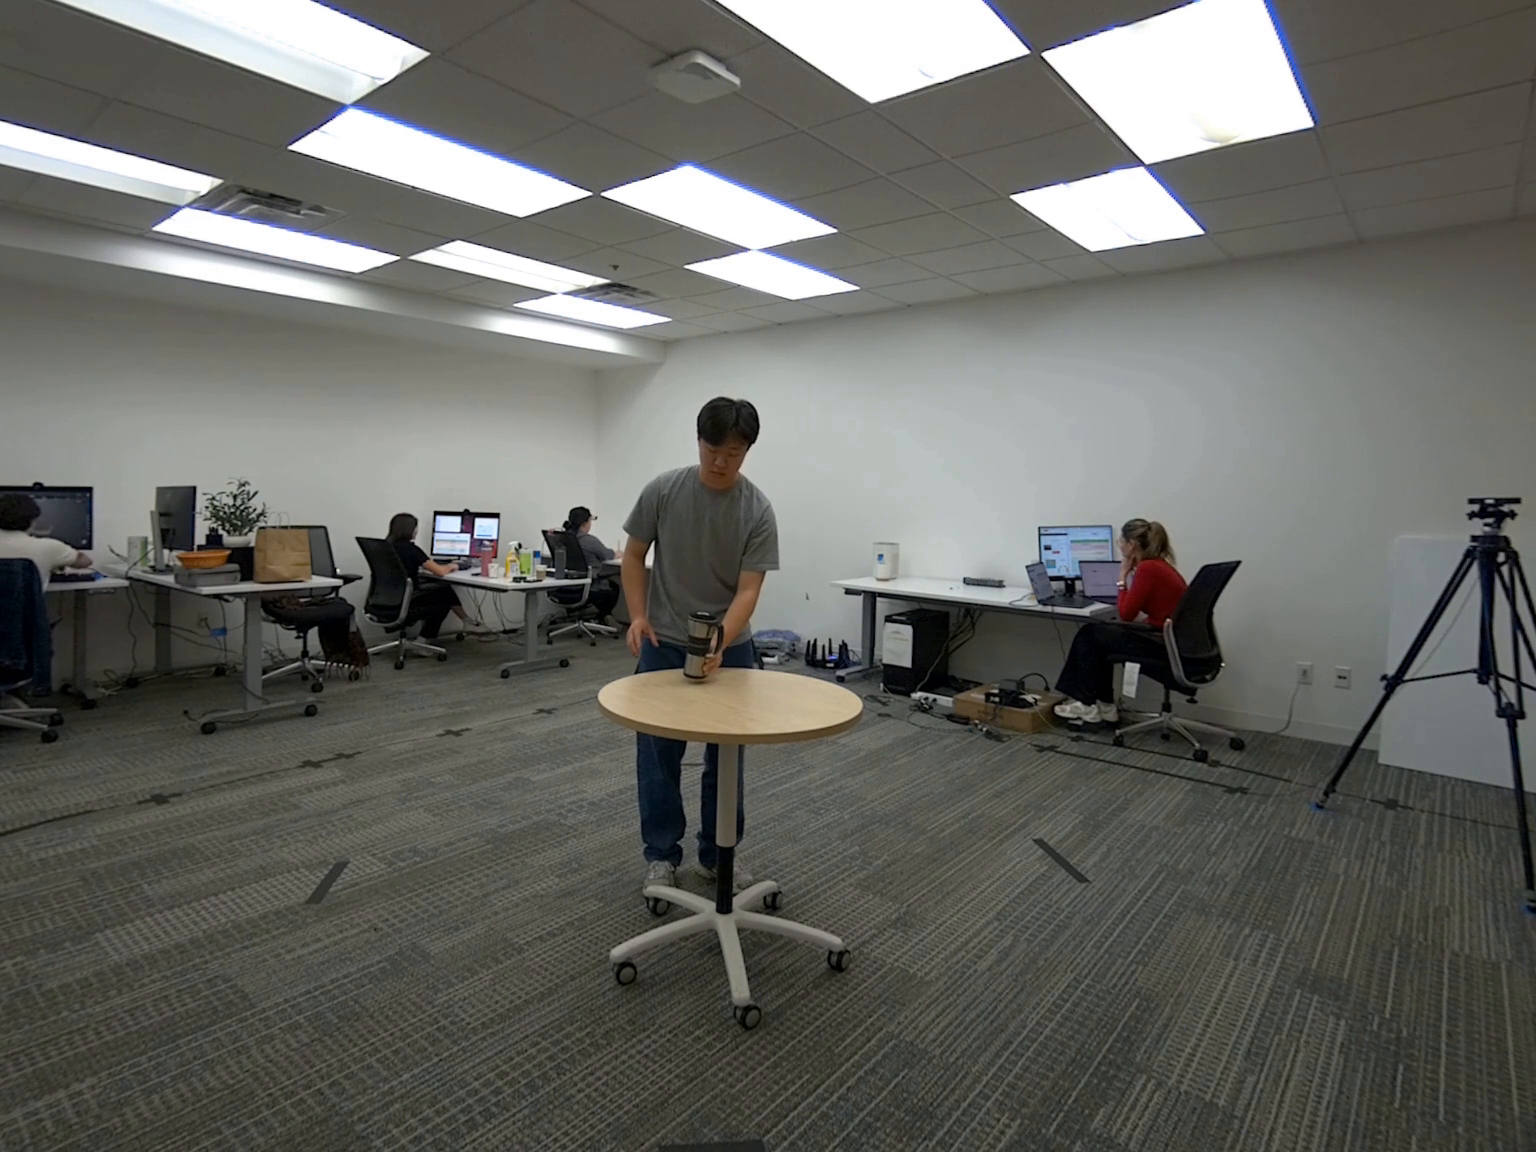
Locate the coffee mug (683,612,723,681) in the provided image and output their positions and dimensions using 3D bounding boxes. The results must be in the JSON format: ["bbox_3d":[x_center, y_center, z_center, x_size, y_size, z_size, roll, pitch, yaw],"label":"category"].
[{"bbox_3d":[-0.199,0.214,2.610,0.085,0.203,0.125,8,2,-27],"label":"coffee mug"}]
